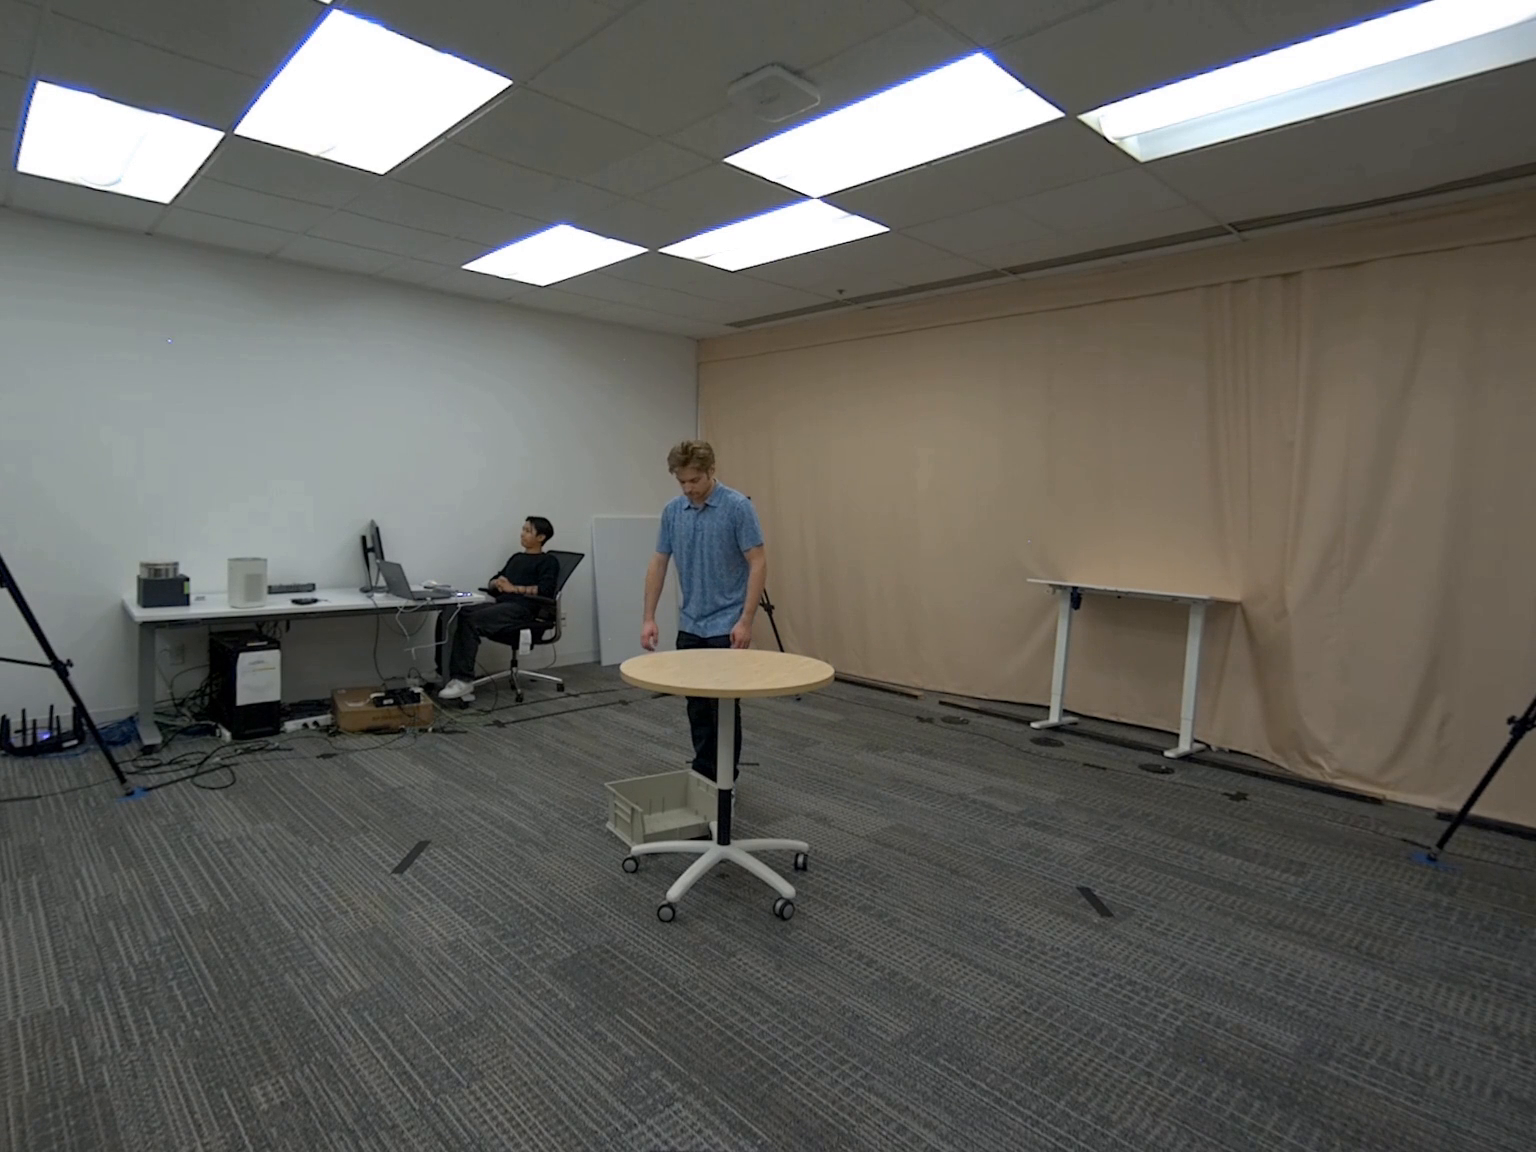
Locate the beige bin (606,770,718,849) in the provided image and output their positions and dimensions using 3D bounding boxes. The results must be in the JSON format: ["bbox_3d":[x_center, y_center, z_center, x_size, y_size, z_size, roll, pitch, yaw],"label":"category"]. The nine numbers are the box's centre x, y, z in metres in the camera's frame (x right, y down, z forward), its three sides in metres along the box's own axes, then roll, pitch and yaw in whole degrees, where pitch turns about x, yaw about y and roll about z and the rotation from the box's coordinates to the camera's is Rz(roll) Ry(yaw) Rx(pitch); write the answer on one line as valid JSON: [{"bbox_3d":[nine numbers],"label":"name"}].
[{"bbox_3d":[-0.424,0.978,3.510,0.413,0.188,0.386,-3,5,-34],"label":"beige bin"}]
